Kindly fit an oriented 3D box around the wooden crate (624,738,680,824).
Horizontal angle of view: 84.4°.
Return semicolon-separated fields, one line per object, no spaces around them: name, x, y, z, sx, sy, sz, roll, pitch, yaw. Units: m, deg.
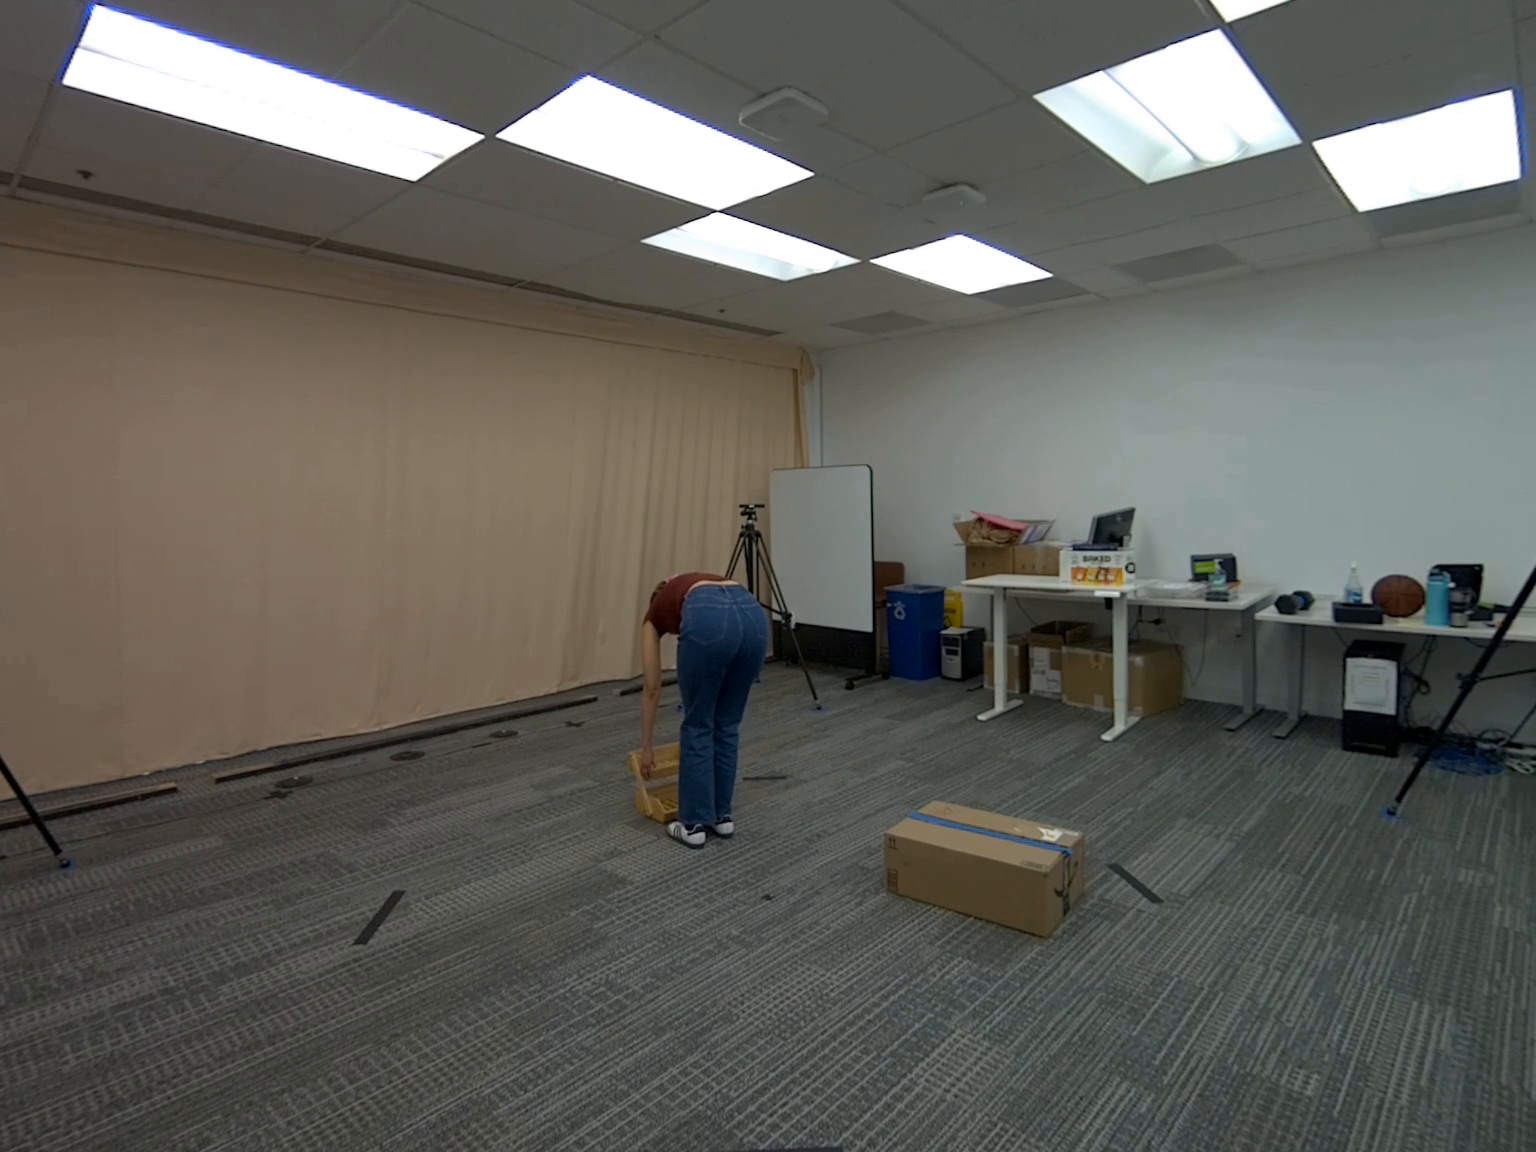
wooden crate;-0.436;0.924;3.879;0.315;0.273;0.311;-3;1;-38
